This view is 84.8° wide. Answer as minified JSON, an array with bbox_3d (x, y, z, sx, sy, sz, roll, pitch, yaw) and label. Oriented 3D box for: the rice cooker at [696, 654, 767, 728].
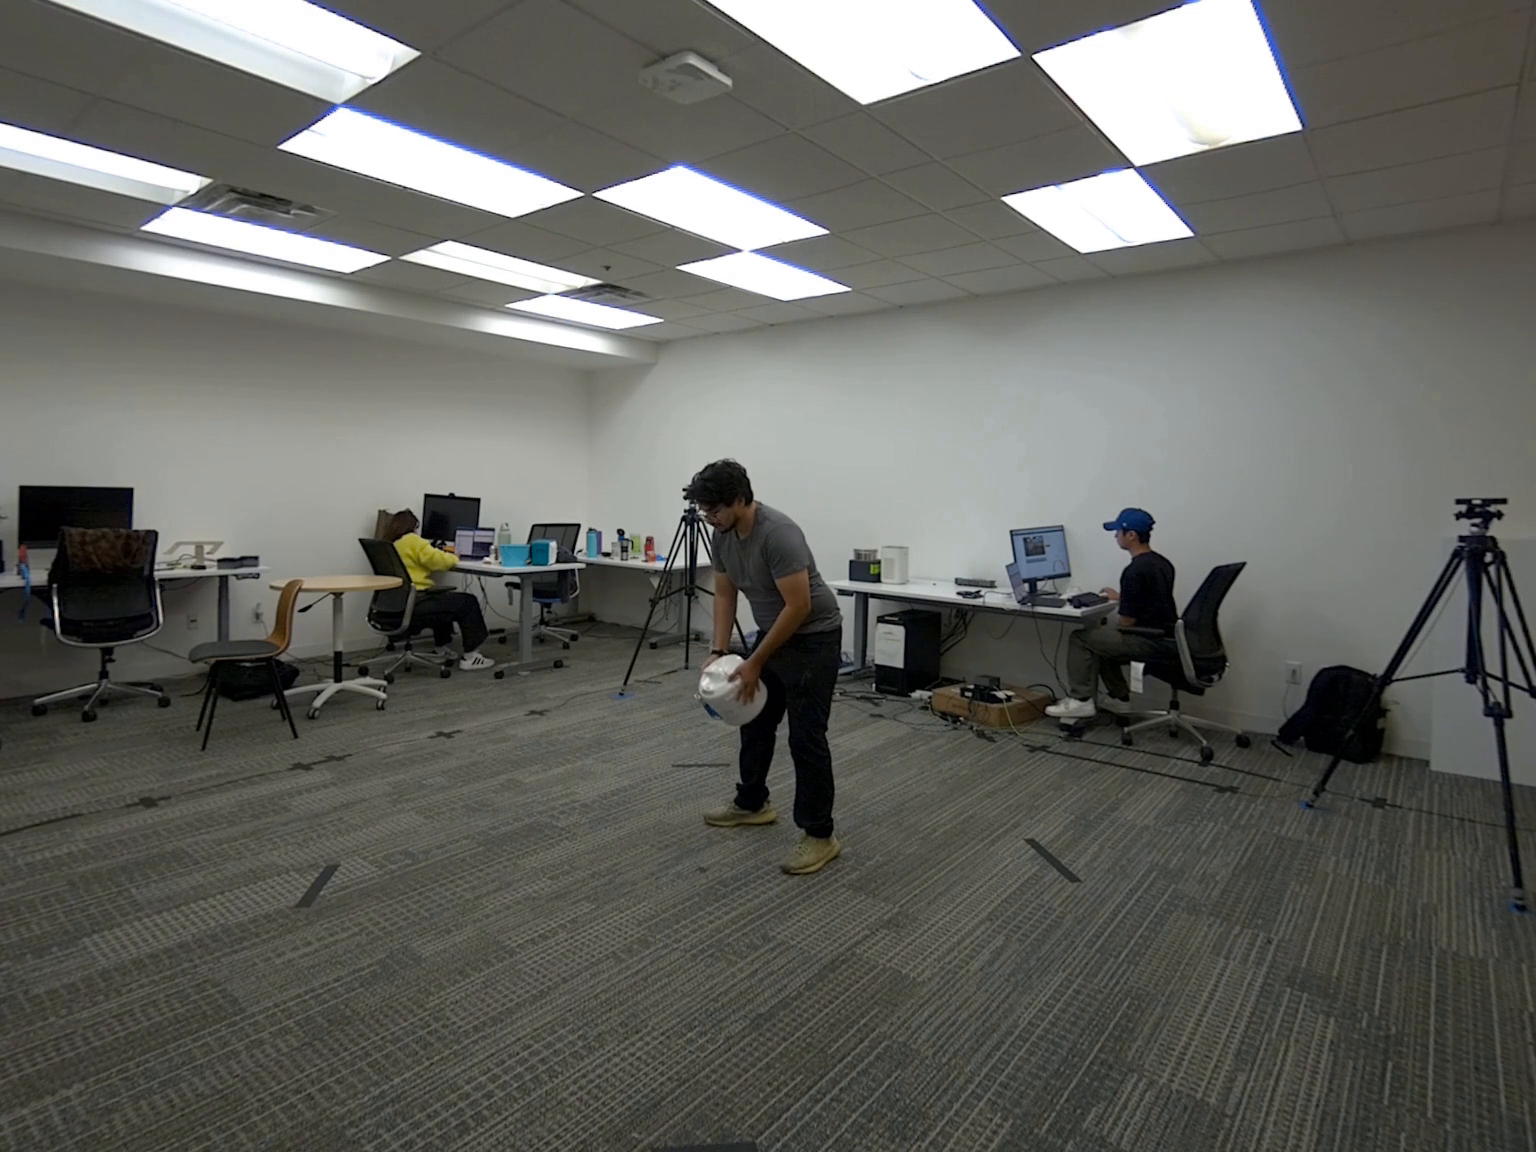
[{"bbox_3d":[-0.155,0.419,3.223,0.227,0.225,0.218,1,46,50],"label":"rice cooker"}]
